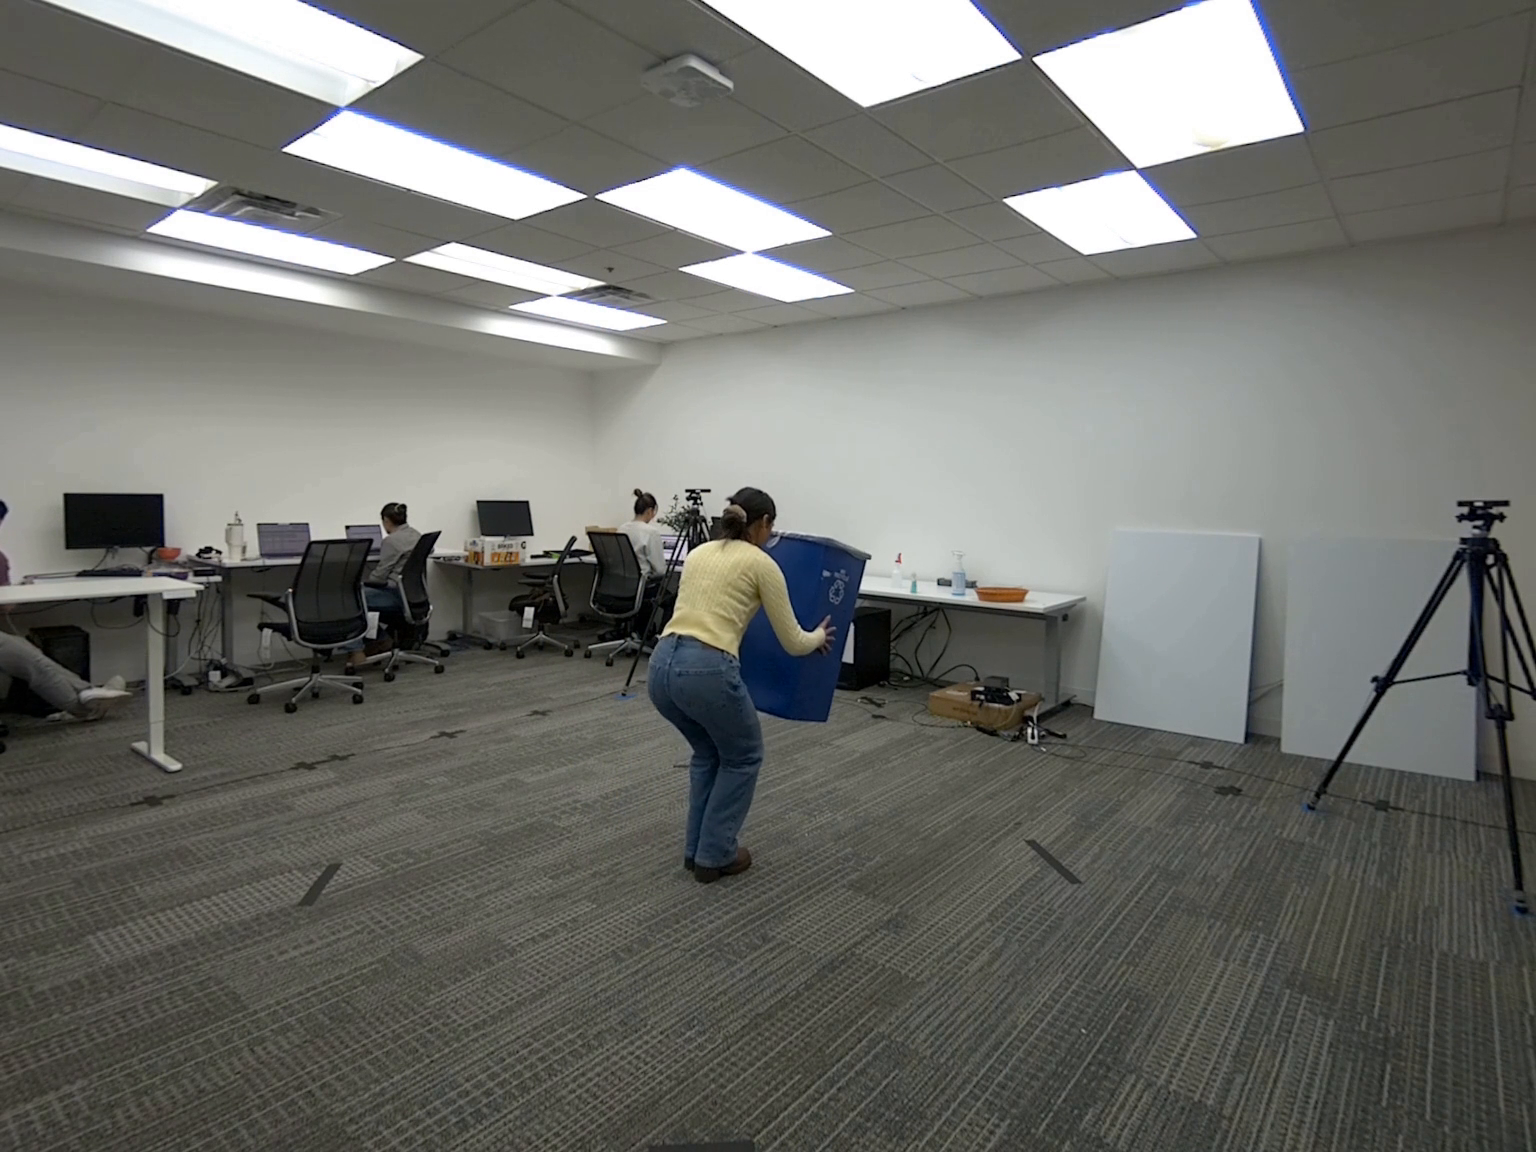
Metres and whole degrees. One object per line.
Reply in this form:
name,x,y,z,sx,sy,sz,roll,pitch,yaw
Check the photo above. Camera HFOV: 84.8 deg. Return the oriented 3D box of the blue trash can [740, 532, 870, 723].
blue trash can,0.112,0.203,3.485,0.391,0.716,0.360,9,-5,36
